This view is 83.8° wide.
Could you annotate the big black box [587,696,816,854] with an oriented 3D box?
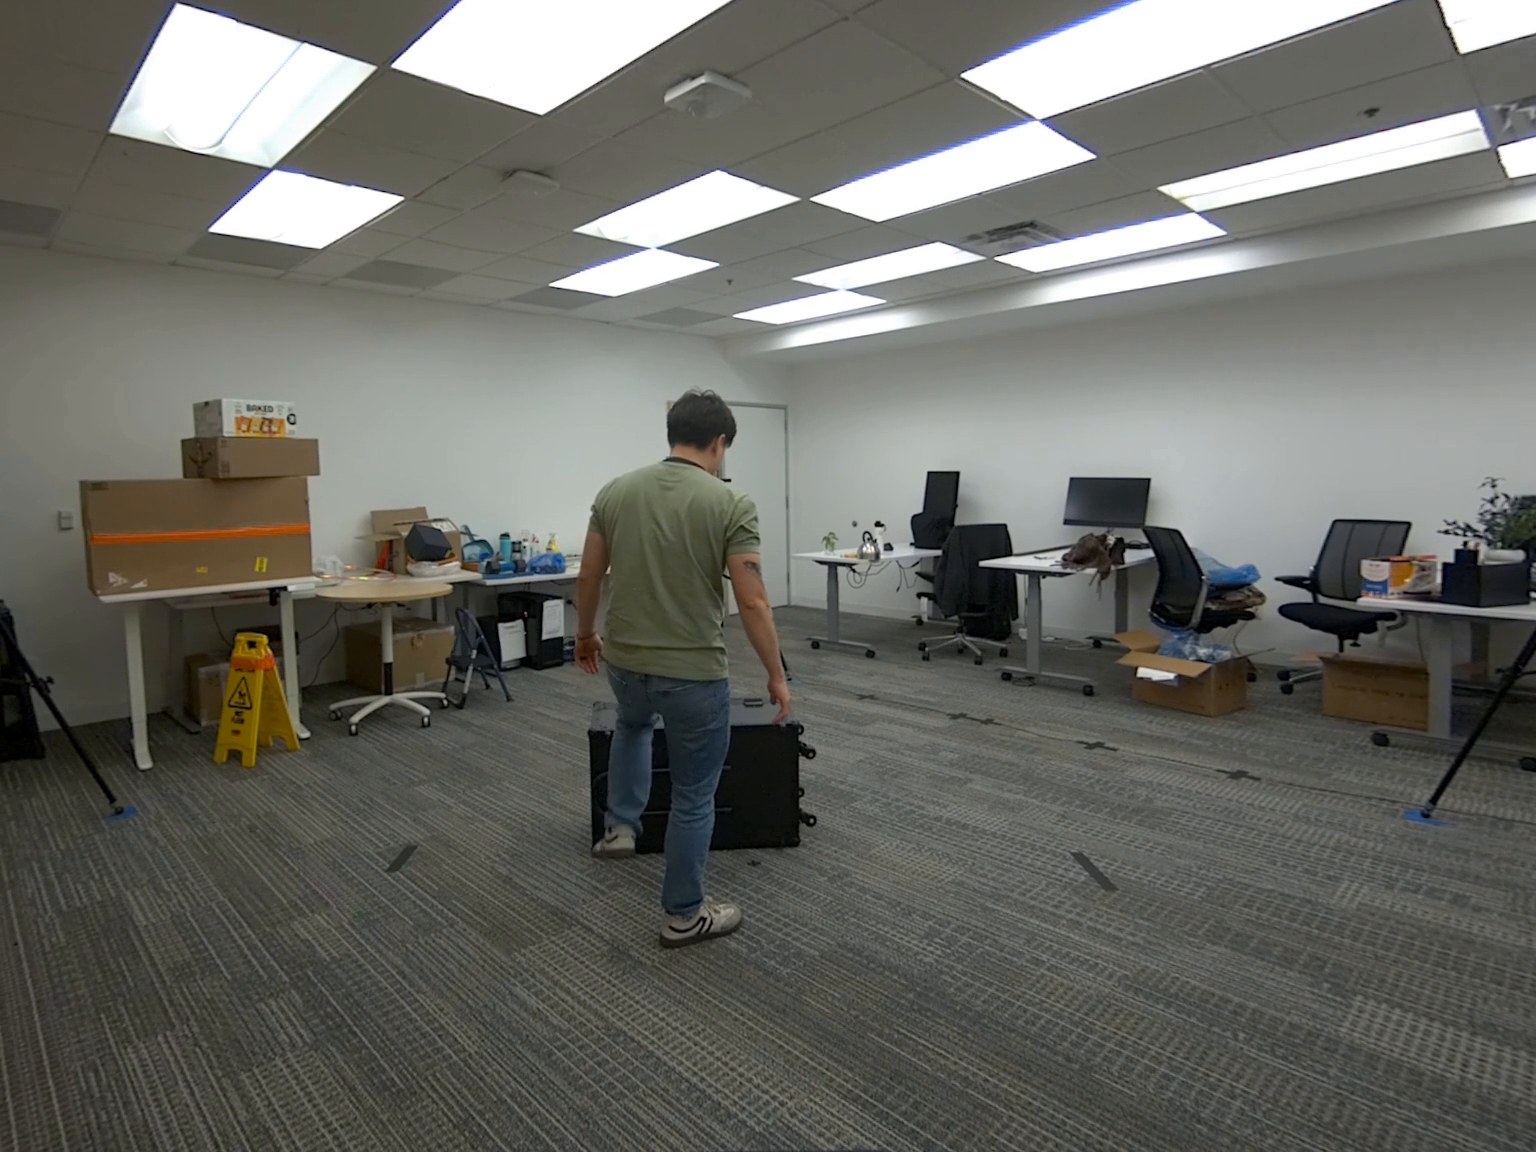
[{"bbox_3d":[-0.258,0.764,3.344,0.857,0.518,0.401,-2,7,-6],"label":"big black box"}]
